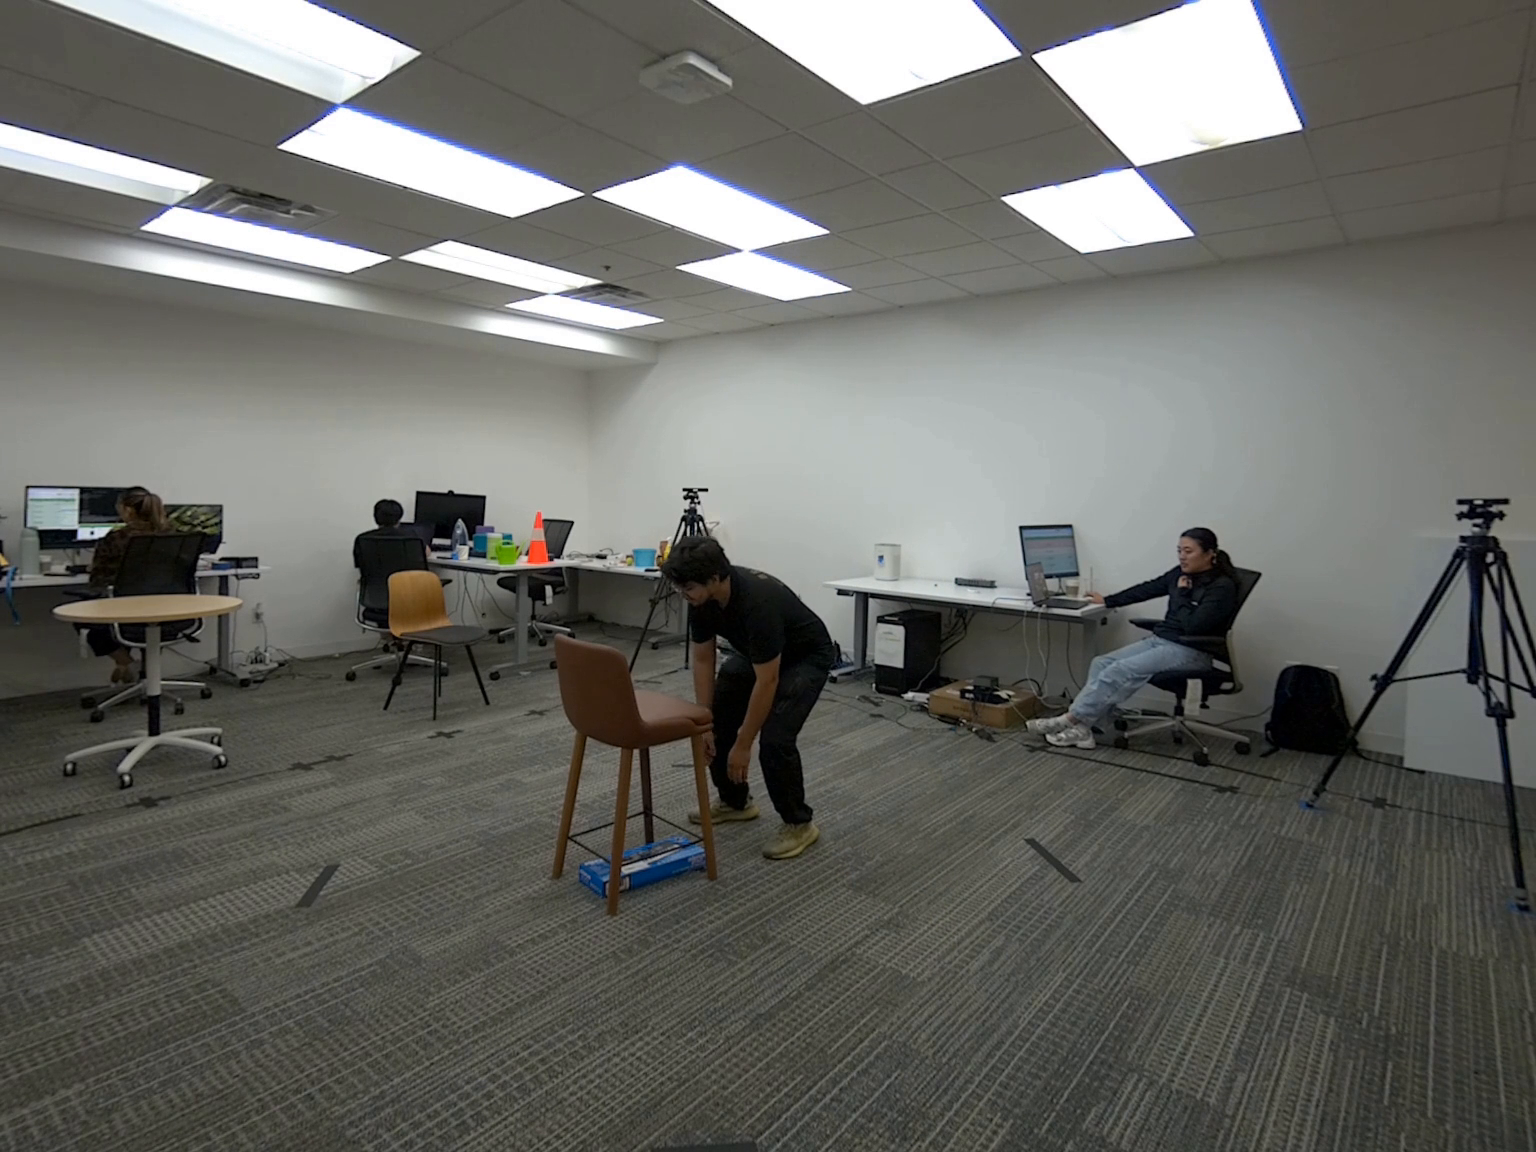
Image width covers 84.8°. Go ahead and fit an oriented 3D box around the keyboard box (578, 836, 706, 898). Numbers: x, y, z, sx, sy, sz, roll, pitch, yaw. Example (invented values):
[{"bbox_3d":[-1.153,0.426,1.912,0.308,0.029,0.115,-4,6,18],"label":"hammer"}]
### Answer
[{"bbox_3d":[-0.458,1.042,3.063,0.424,0.059,0.182,-3,6,-39],"label":"keyboard box"}]
